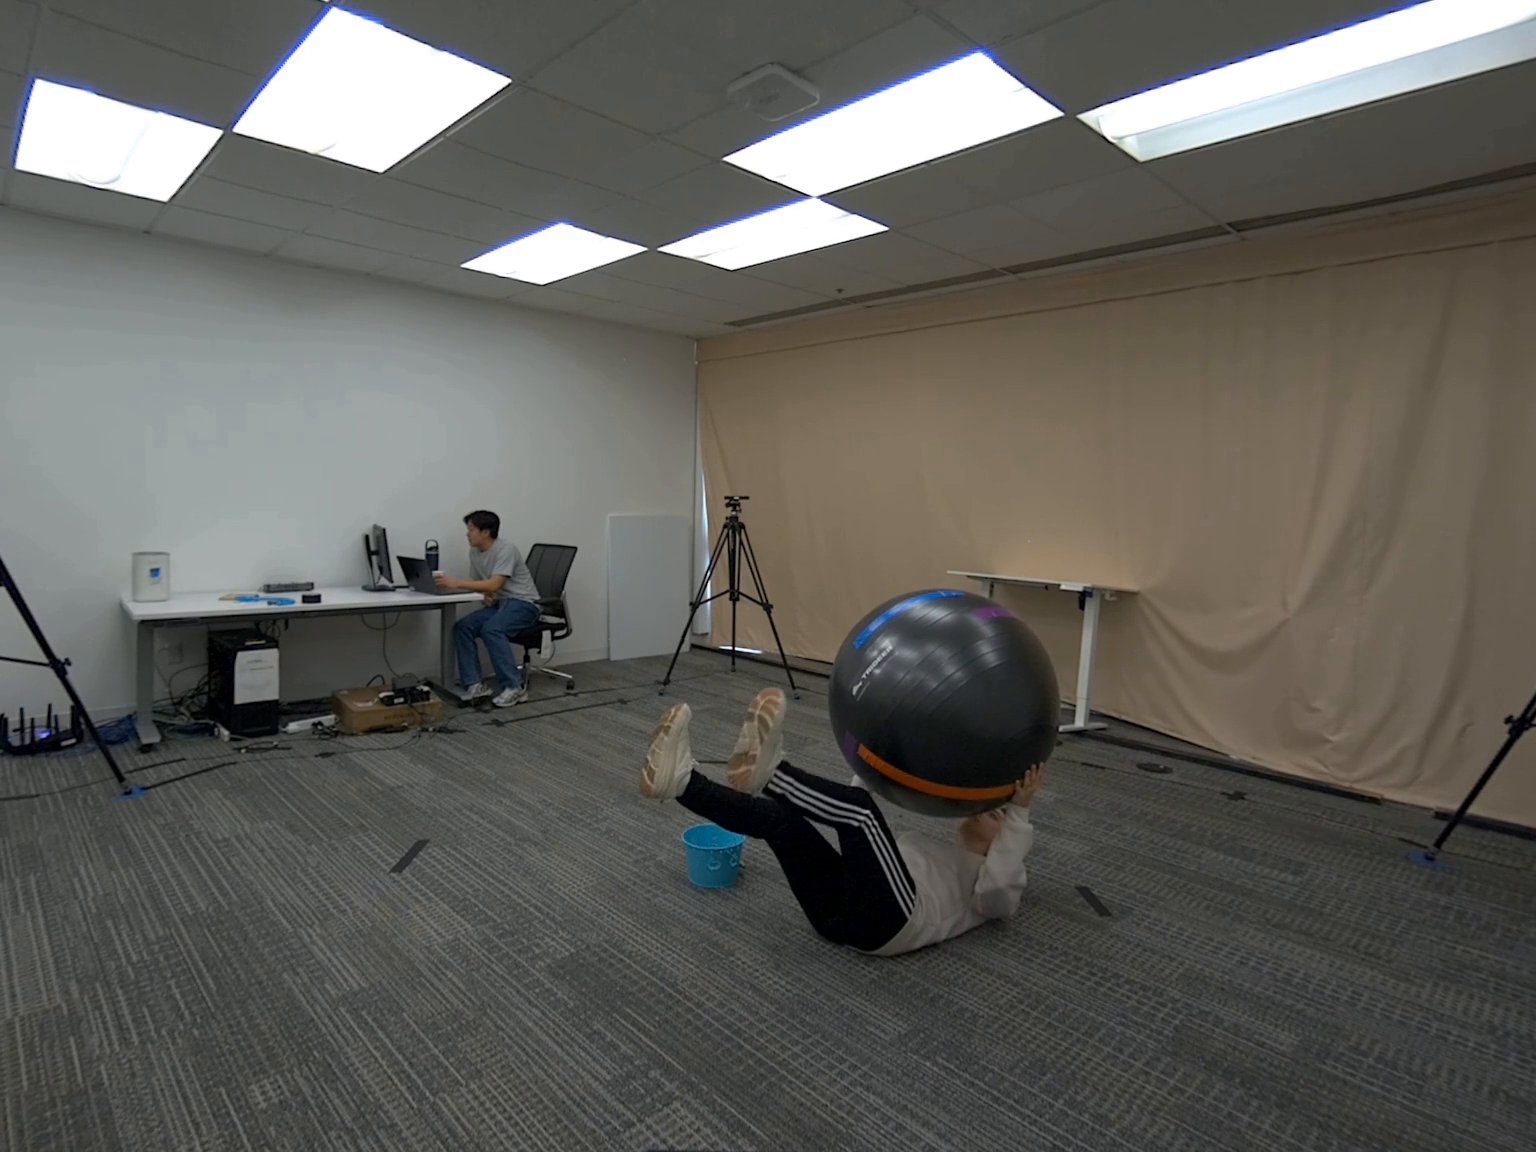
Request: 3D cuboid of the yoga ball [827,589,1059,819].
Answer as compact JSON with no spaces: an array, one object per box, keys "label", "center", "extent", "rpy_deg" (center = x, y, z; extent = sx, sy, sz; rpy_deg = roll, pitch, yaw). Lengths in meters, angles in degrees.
[{"label":"yoga ball","center":[0.585,0.423,2.846],"extent":[0.757,0.756,0.761],"rpy_deg":[1,4,-1]}]
